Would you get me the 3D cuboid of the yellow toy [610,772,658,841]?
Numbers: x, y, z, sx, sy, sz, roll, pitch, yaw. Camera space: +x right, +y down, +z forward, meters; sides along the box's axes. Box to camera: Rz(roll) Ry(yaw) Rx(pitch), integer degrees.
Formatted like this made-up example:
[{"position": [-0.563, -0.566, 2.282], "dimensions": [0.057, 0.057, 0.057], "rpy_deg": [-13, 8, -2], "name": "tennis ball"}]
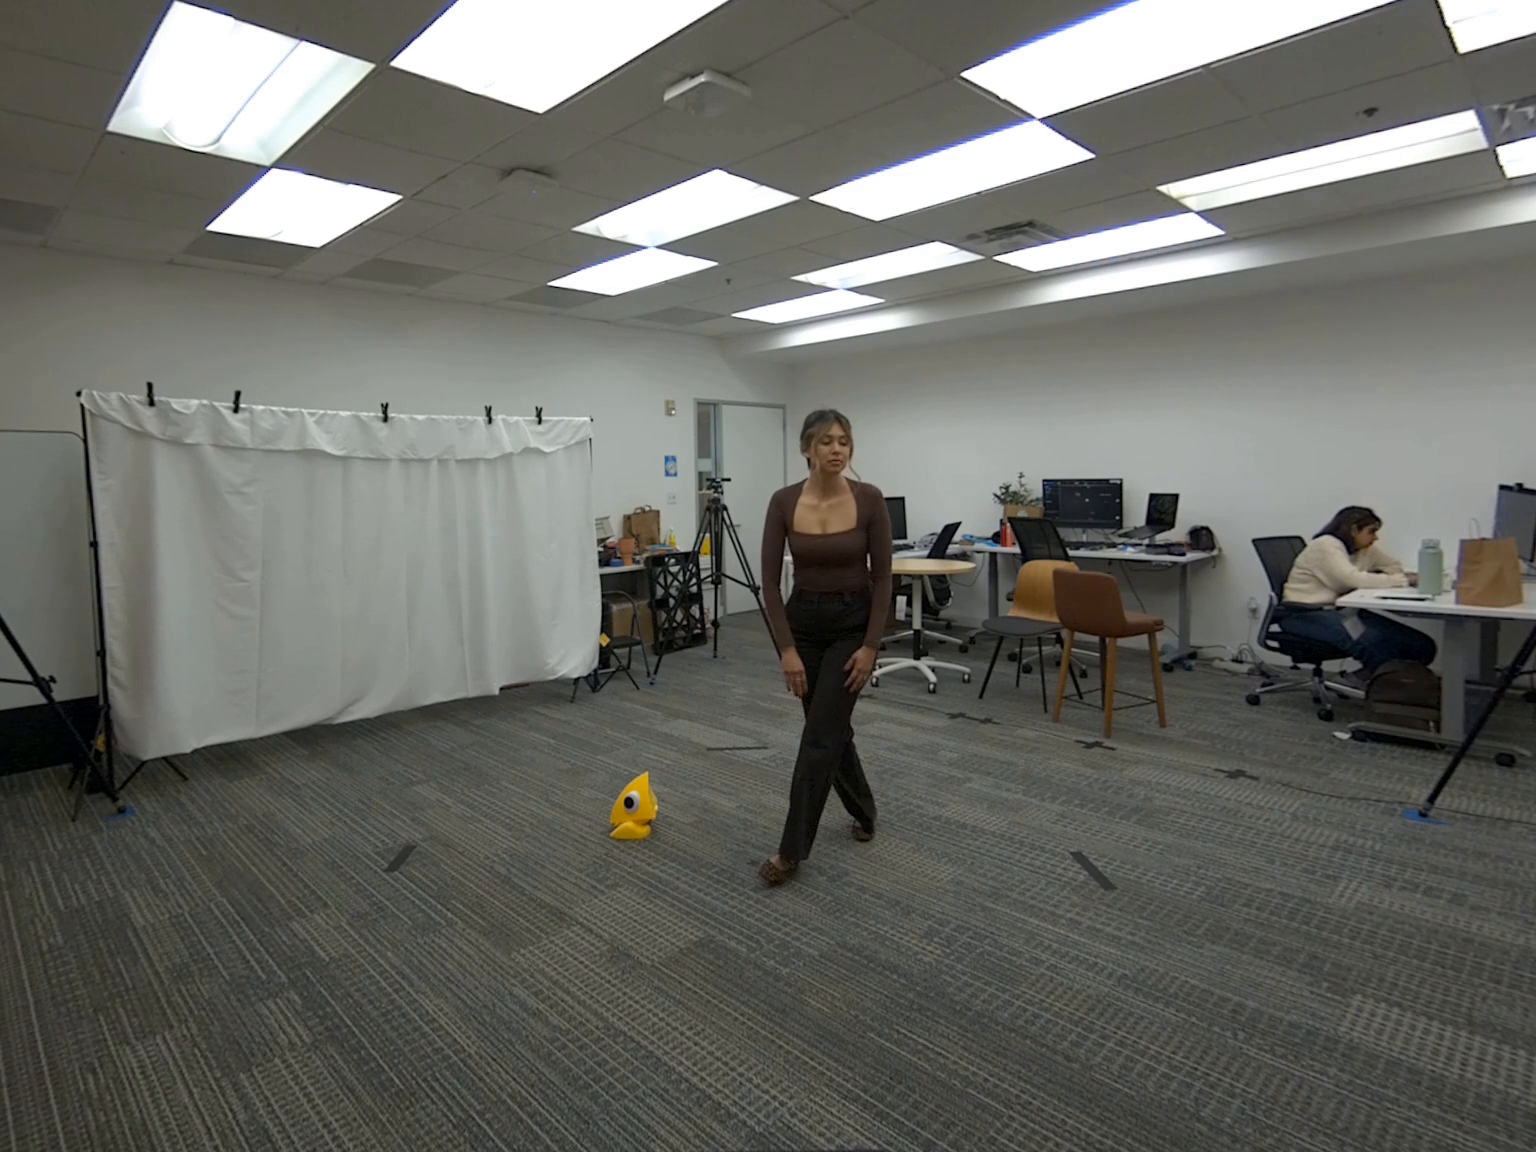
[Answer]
[{"position": [-0.537, 0.900, 3.424], "dimensions": [0.192, 0.230, 0.206], "rpy_deg": [-1, 4, -4], "name": "yellow toy"}]
